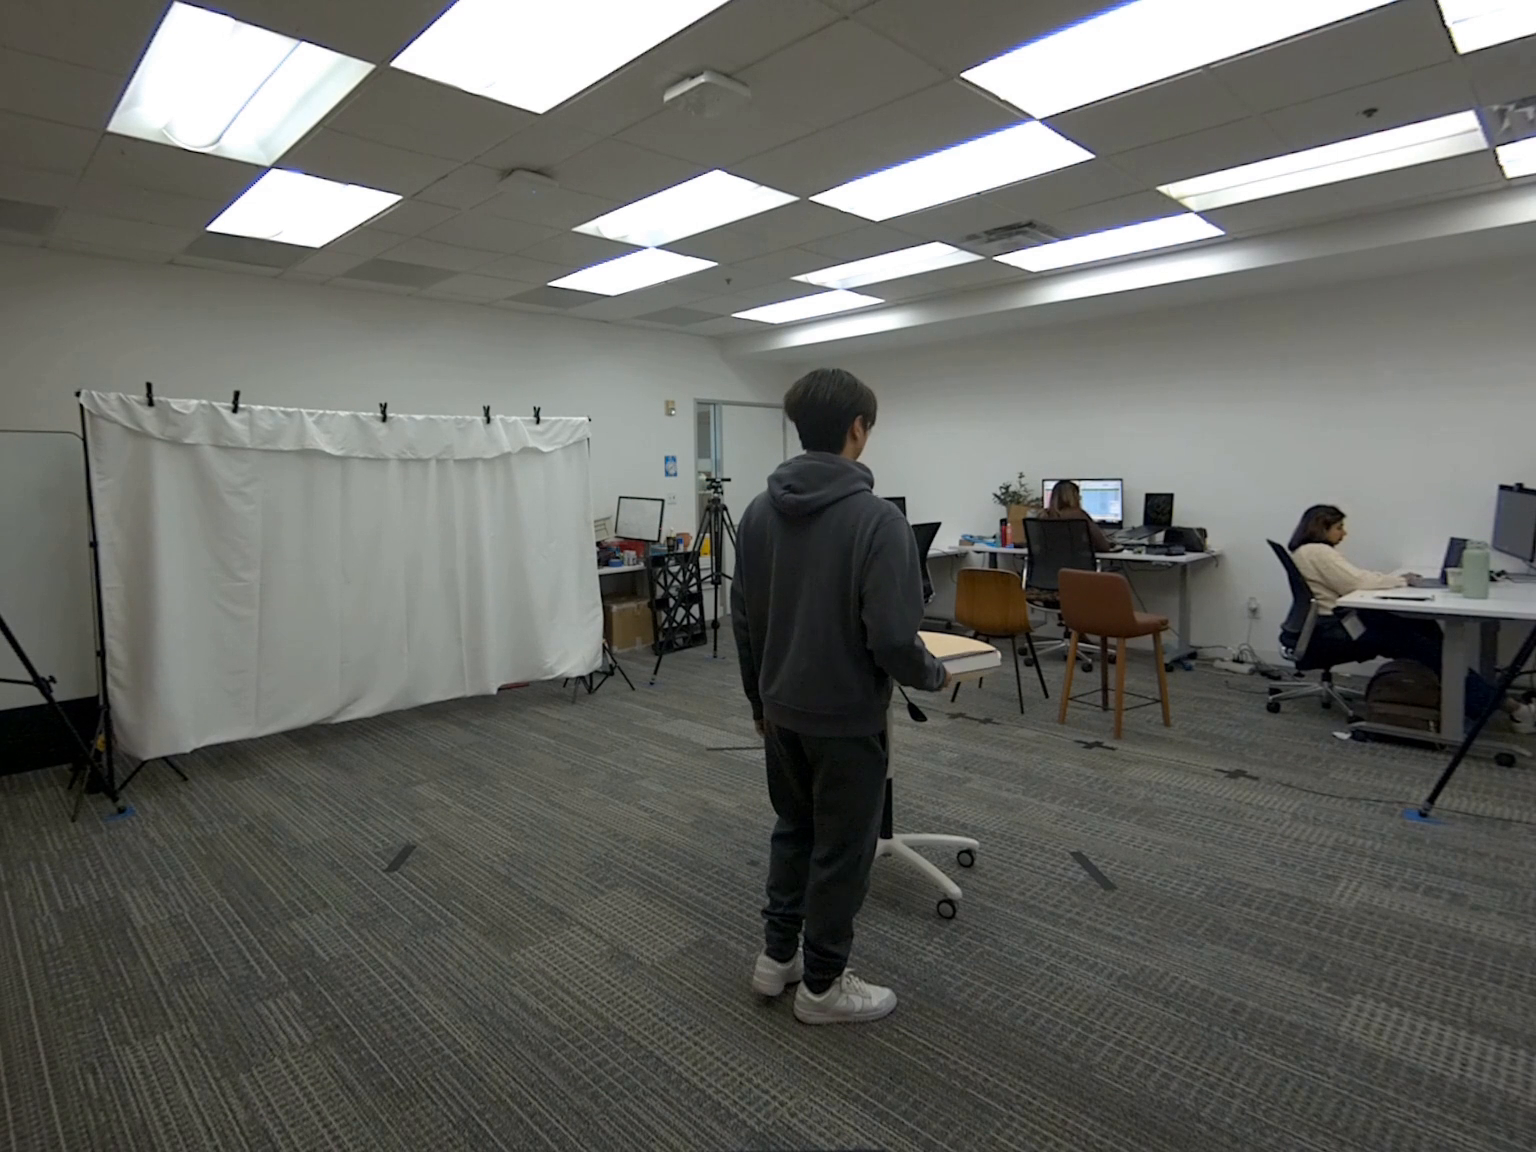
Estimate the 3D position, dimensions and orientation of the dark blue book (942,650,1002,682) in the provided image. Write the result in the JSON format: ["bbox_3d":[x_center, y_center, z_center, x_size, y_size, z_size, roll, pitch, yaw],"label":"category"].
[{"bbox_3d":[0.483,0.244,2.323,0.243,0.045,0.164,-8,-3,-12],"label":"dark blue book"}]
